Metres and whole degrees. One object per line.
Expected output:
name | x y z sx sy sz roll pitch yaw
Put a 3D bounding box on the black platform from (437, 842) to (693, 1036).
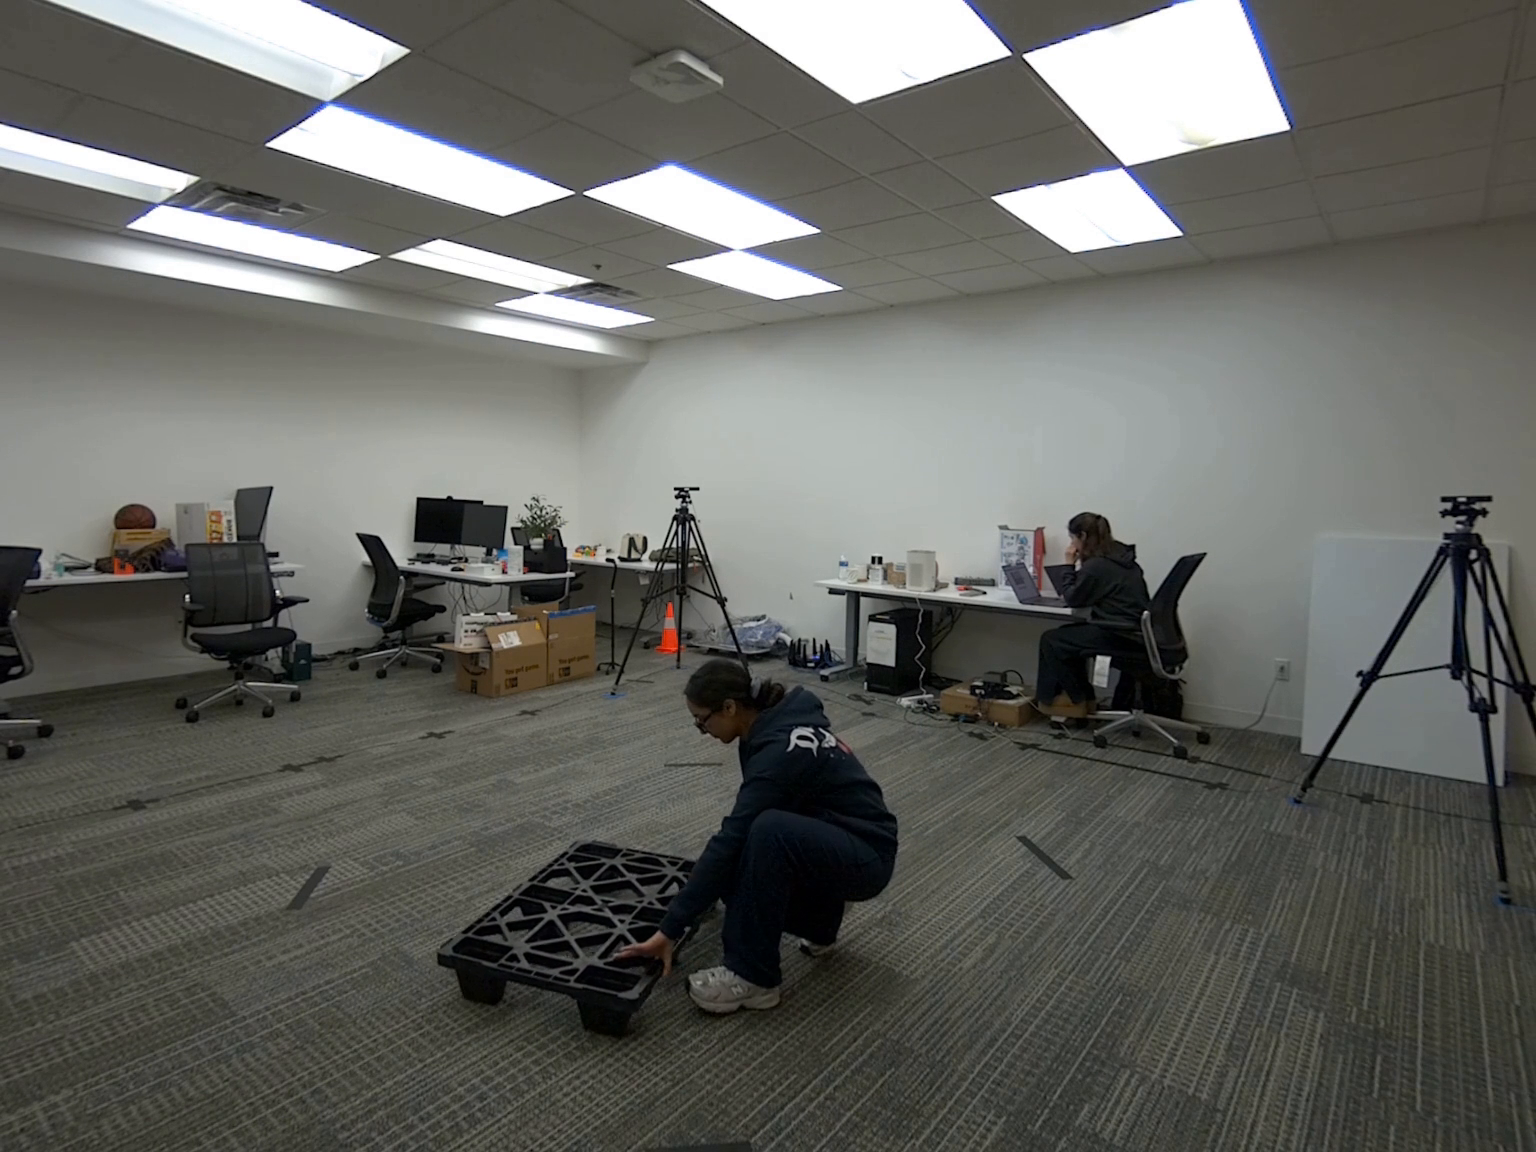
black platform | -0.508 1.045 2.568 0.617 0.143 0.793 3 6 18
